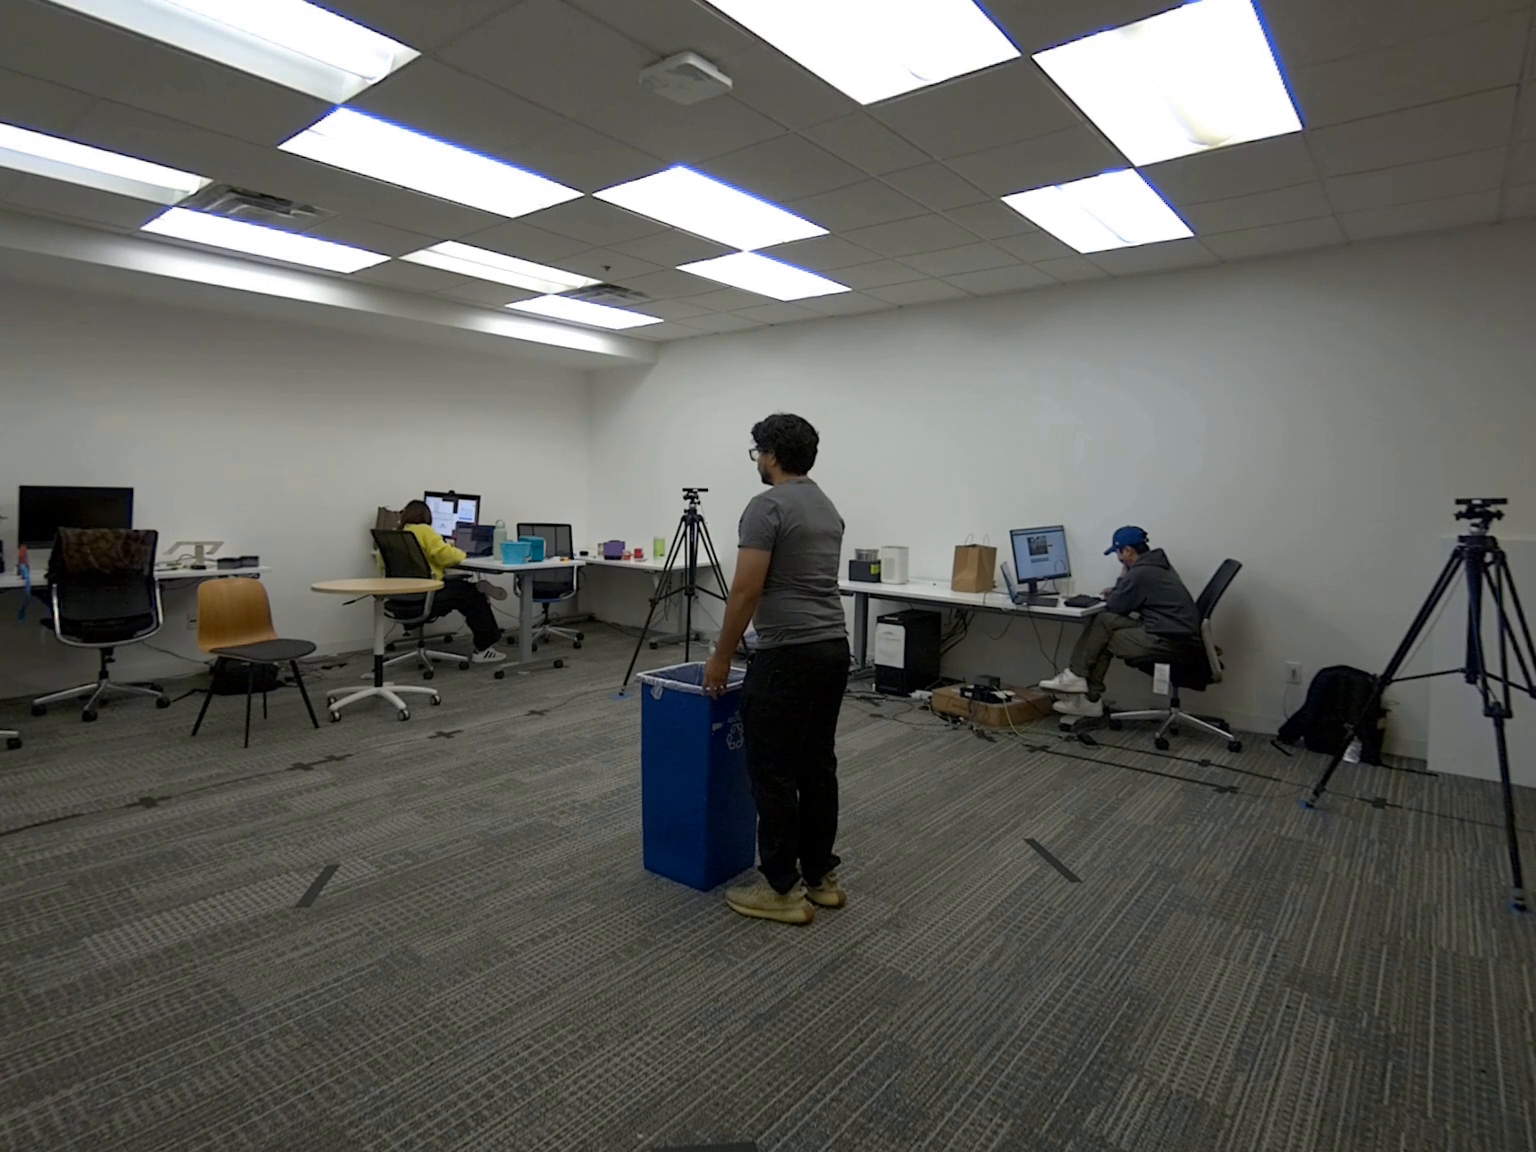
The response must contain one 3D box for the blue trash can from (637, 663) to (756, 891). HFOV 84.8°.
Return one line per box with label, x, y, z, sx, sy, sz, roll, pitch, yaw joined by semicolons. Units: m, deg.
blue trash can;-0.247;0.711;3.119;0.386;0.712;0.367;3;3;36
